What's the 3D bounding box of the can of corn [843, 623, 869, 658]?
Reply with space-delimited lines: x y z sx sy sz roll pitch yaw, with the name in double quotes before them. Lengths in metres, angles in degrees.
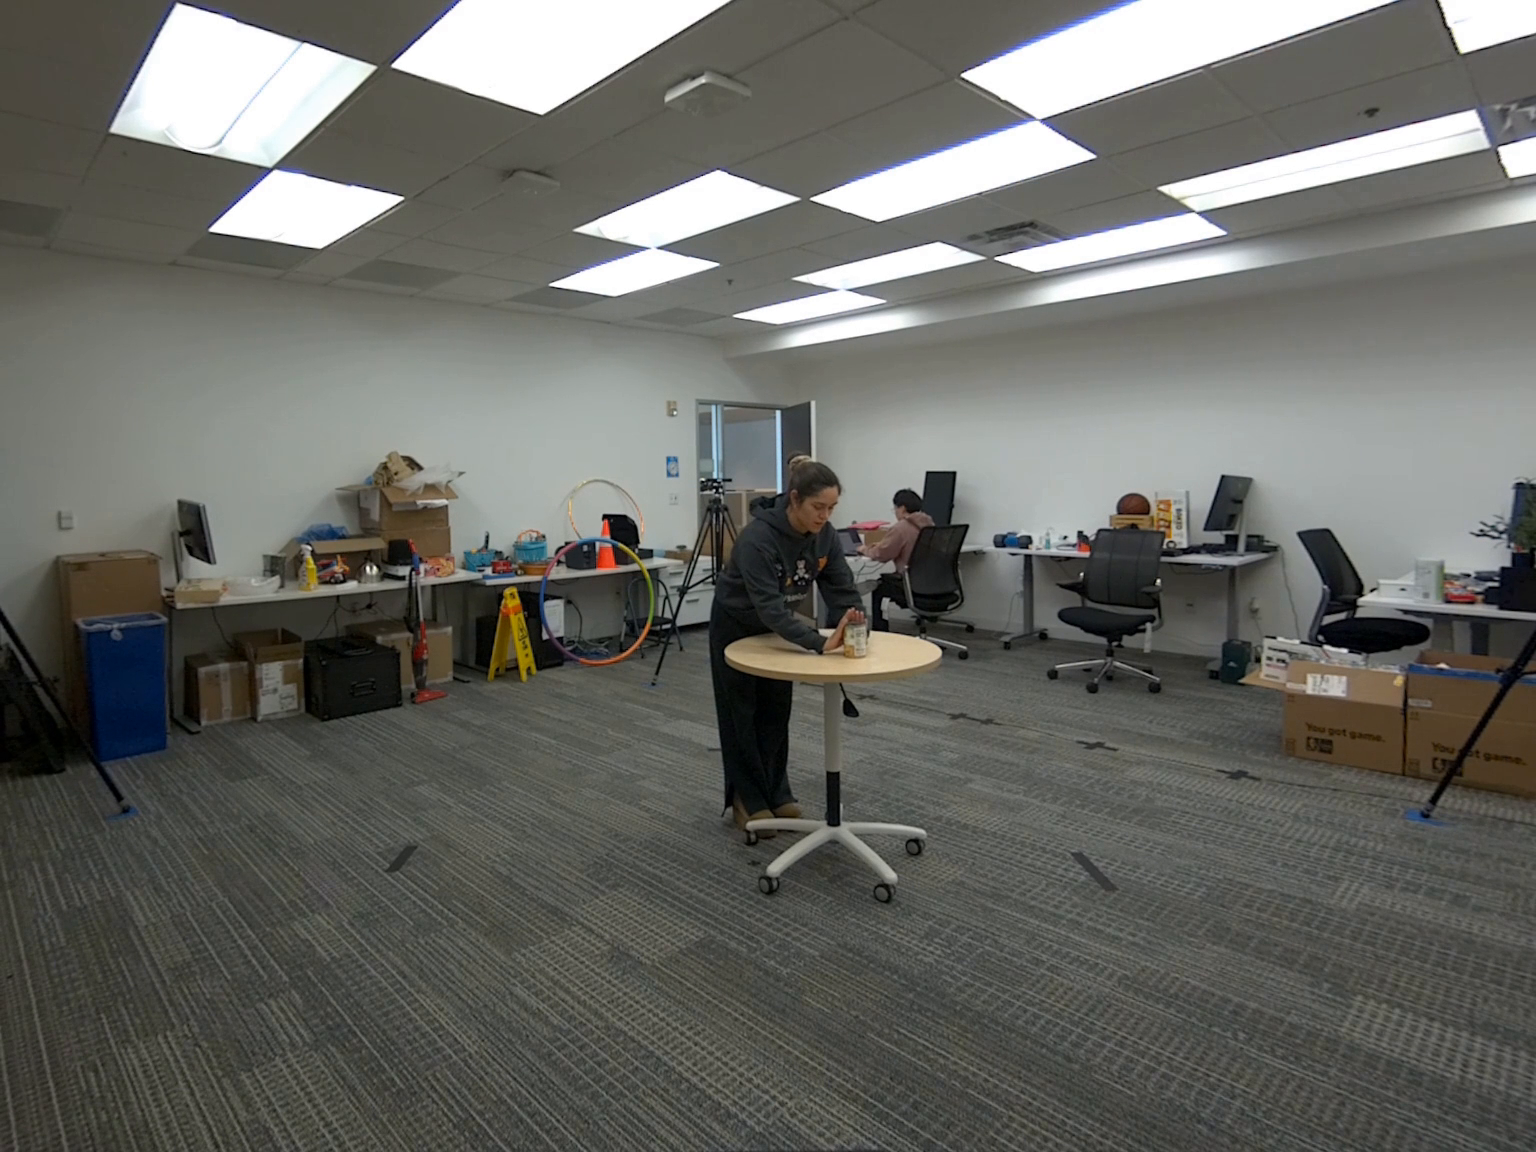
"can of corn" 0.294 0.220 2.921 0.074 0.110 0.074 -2 5 -2
